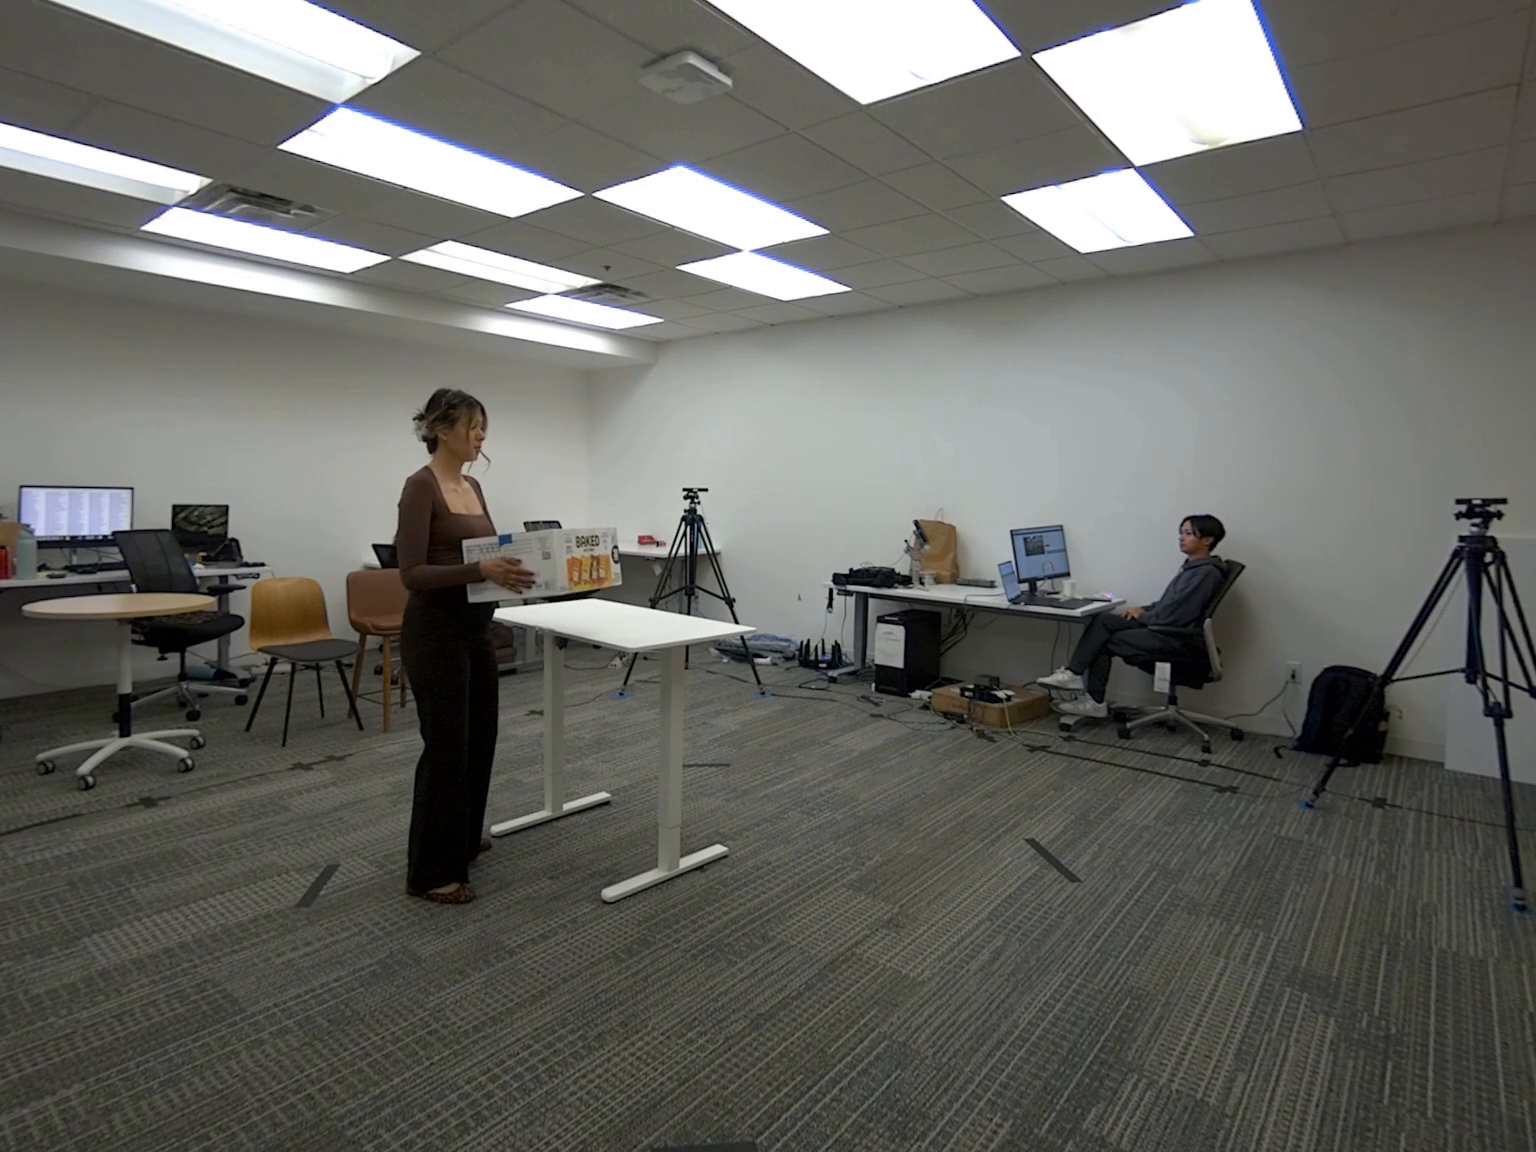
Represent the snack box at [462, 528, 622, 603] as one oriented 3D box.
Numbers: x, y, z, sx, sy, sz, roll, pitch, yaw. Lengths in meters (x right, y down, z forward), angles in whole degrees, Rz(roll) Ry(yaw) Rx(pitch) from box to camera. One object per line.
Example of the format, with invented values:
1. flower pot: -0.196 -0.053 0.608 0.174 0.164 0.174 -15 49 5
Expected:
1. snack box: -0.746 -0.042 2.808 0.347 0.205 0.398 -6 2 20
